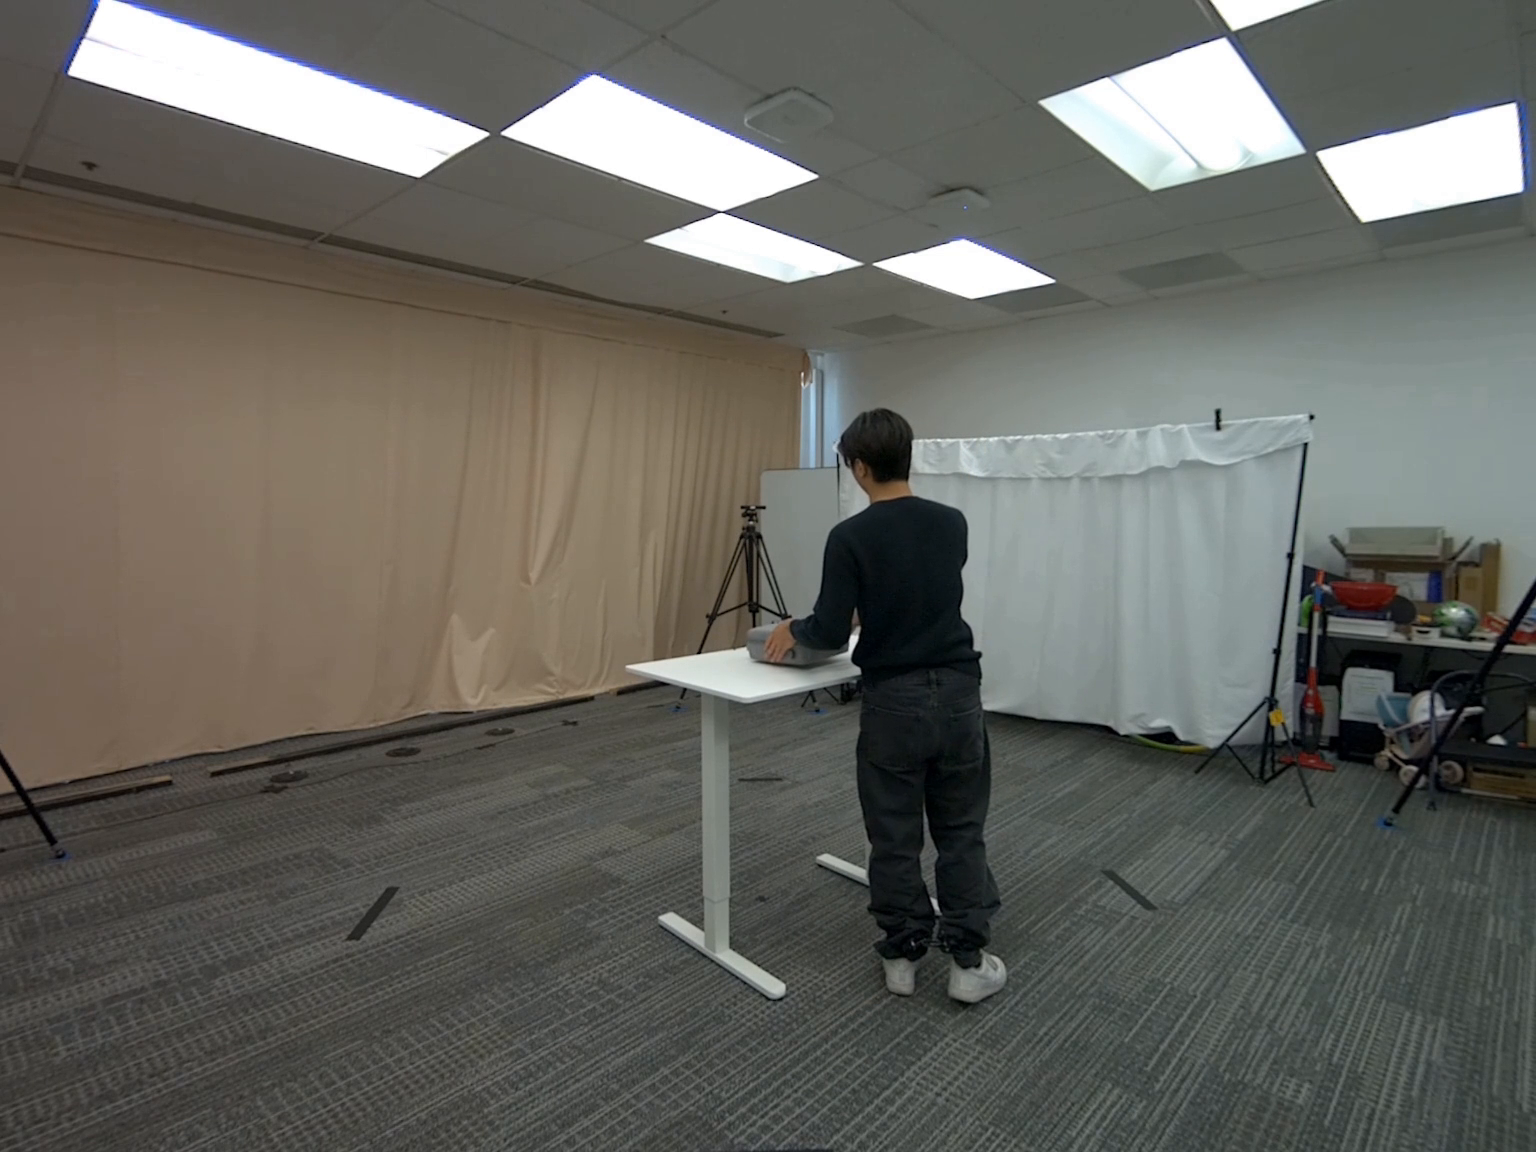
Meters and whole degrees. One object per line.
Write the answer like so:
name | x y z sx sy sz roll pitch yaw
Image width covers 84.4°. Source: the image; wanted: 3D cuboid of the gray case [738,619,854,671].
gray case | 0.089 0.216 2.742 0.249 0.104 0.269 -7 6 -43
